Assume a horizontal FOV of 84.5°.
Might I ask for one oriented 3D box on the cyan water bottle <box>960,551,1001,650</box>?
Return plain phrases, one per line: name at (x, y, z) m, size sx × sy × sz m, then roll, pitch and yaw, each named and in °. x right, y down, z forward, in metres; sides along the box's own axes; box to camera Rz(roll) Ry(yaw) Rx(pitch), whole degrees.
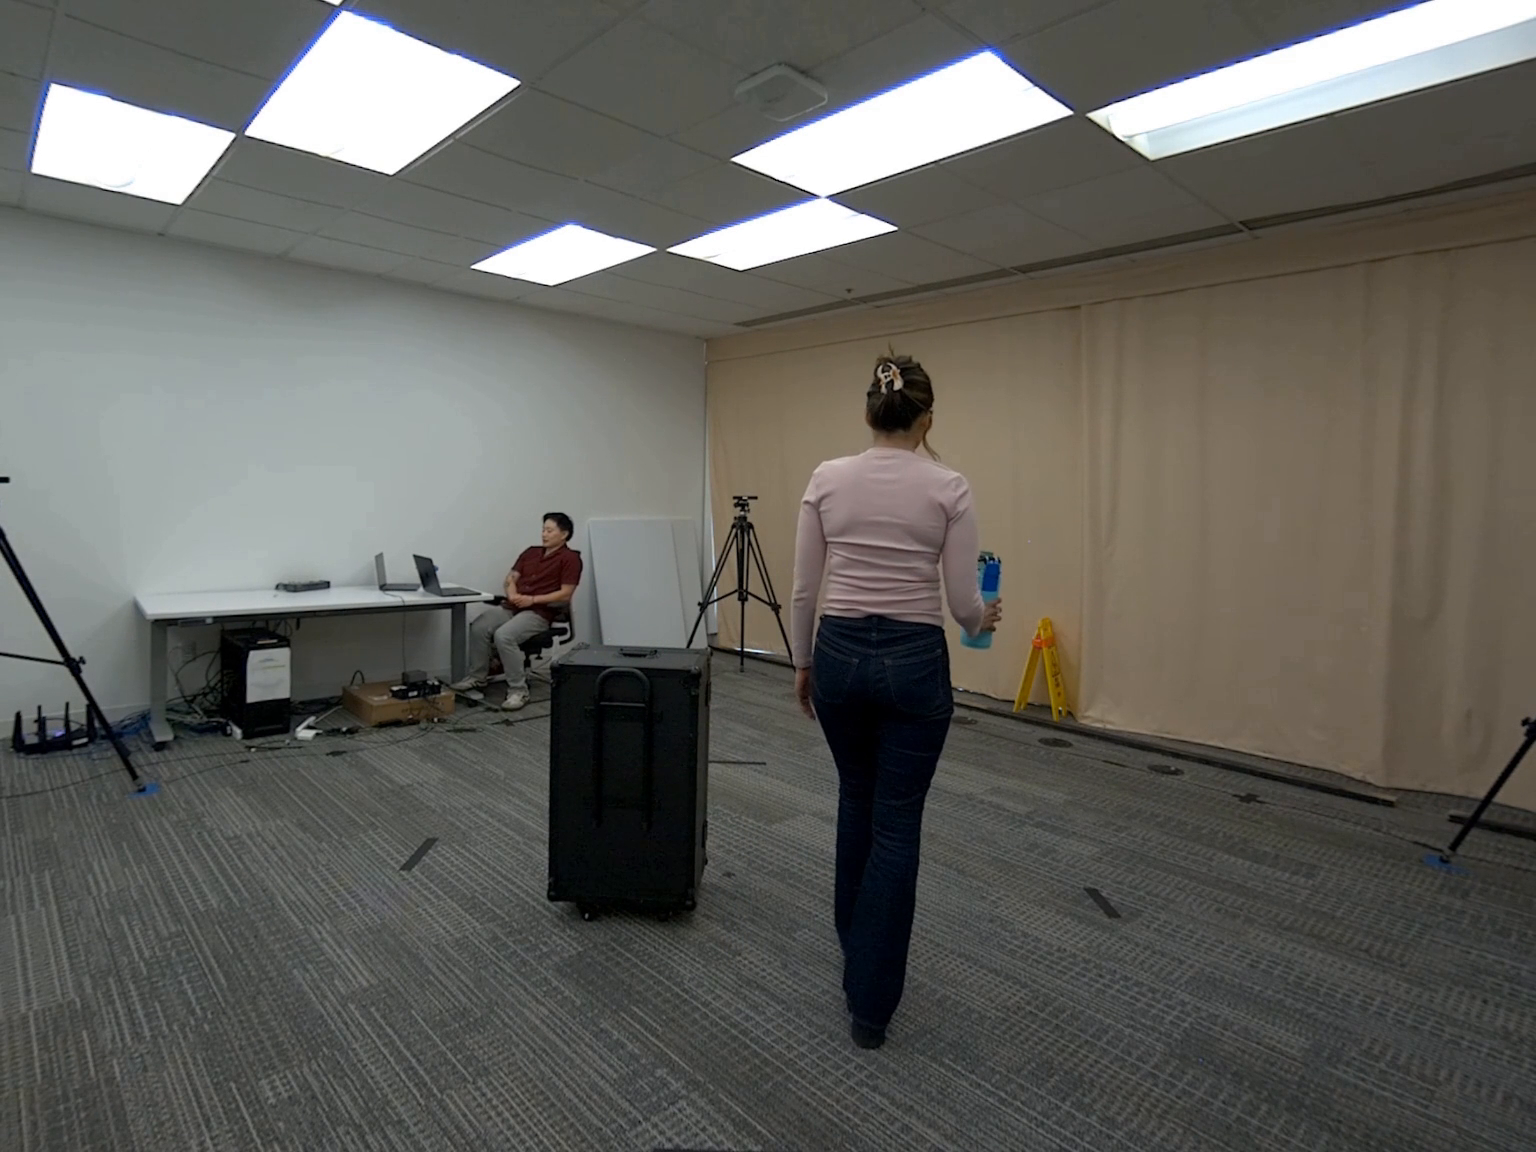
cyan water bottle at (0.631, 0.070, 2.484) m, size 0.092 × 0.281 × 0.093 m, roll 7°, pitch 10°, yaw -3°
